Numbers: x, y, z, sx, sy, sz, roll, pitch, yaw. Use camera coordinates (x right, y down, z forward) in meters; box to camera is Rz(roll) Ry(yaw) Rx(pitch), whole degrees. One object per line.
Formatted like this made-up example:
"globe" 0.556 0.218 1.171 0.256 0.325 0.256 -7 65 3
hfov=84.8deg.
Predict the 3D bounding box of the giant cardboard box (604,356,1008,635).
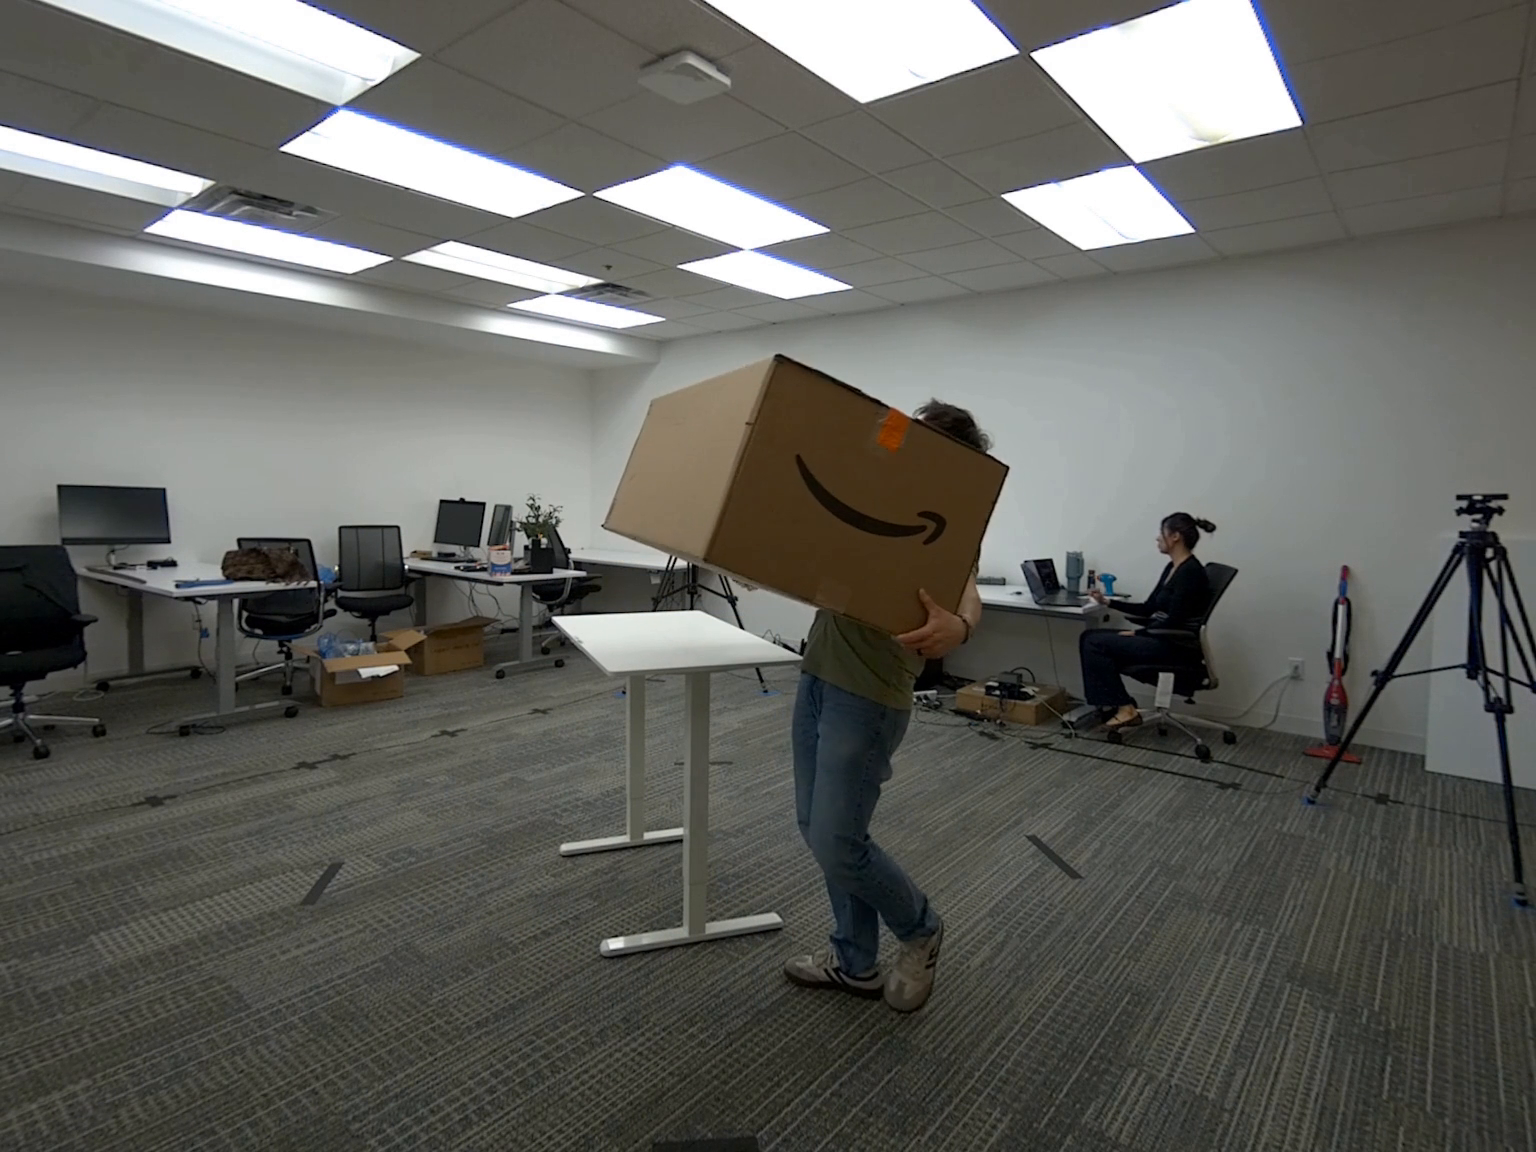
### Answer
"giant cardboard box" 0.003 -0.187 2.179 0.562 0.427 1.052 22 -2 -22
